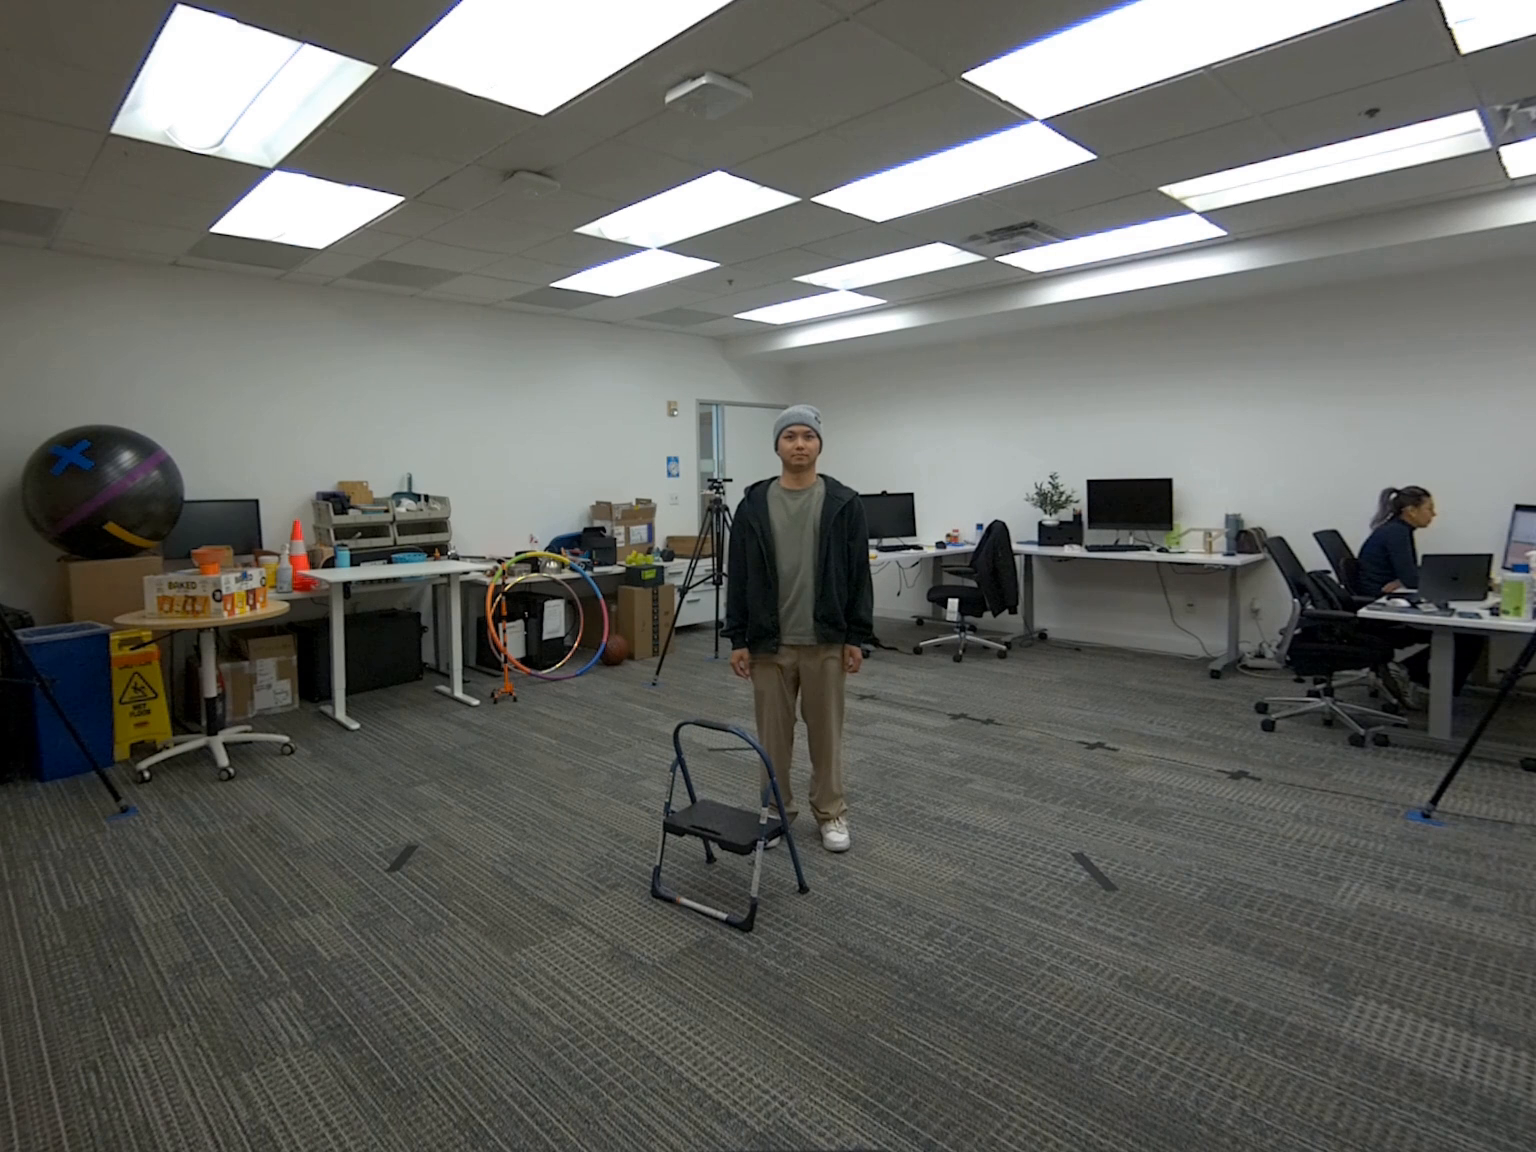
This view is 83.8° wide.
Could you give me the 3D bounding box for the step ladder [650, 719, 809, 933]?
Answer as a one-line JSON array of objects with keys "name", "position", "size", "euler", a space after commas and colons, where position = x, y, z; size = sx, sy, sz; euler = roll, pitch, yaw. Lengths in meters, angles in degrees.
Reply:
[{"name": "step ladder", "position": [-0.136, 0.771, 2.866], "size": [0.443, 0.604, 0.341], "euler": [2, 5, 36]}]
